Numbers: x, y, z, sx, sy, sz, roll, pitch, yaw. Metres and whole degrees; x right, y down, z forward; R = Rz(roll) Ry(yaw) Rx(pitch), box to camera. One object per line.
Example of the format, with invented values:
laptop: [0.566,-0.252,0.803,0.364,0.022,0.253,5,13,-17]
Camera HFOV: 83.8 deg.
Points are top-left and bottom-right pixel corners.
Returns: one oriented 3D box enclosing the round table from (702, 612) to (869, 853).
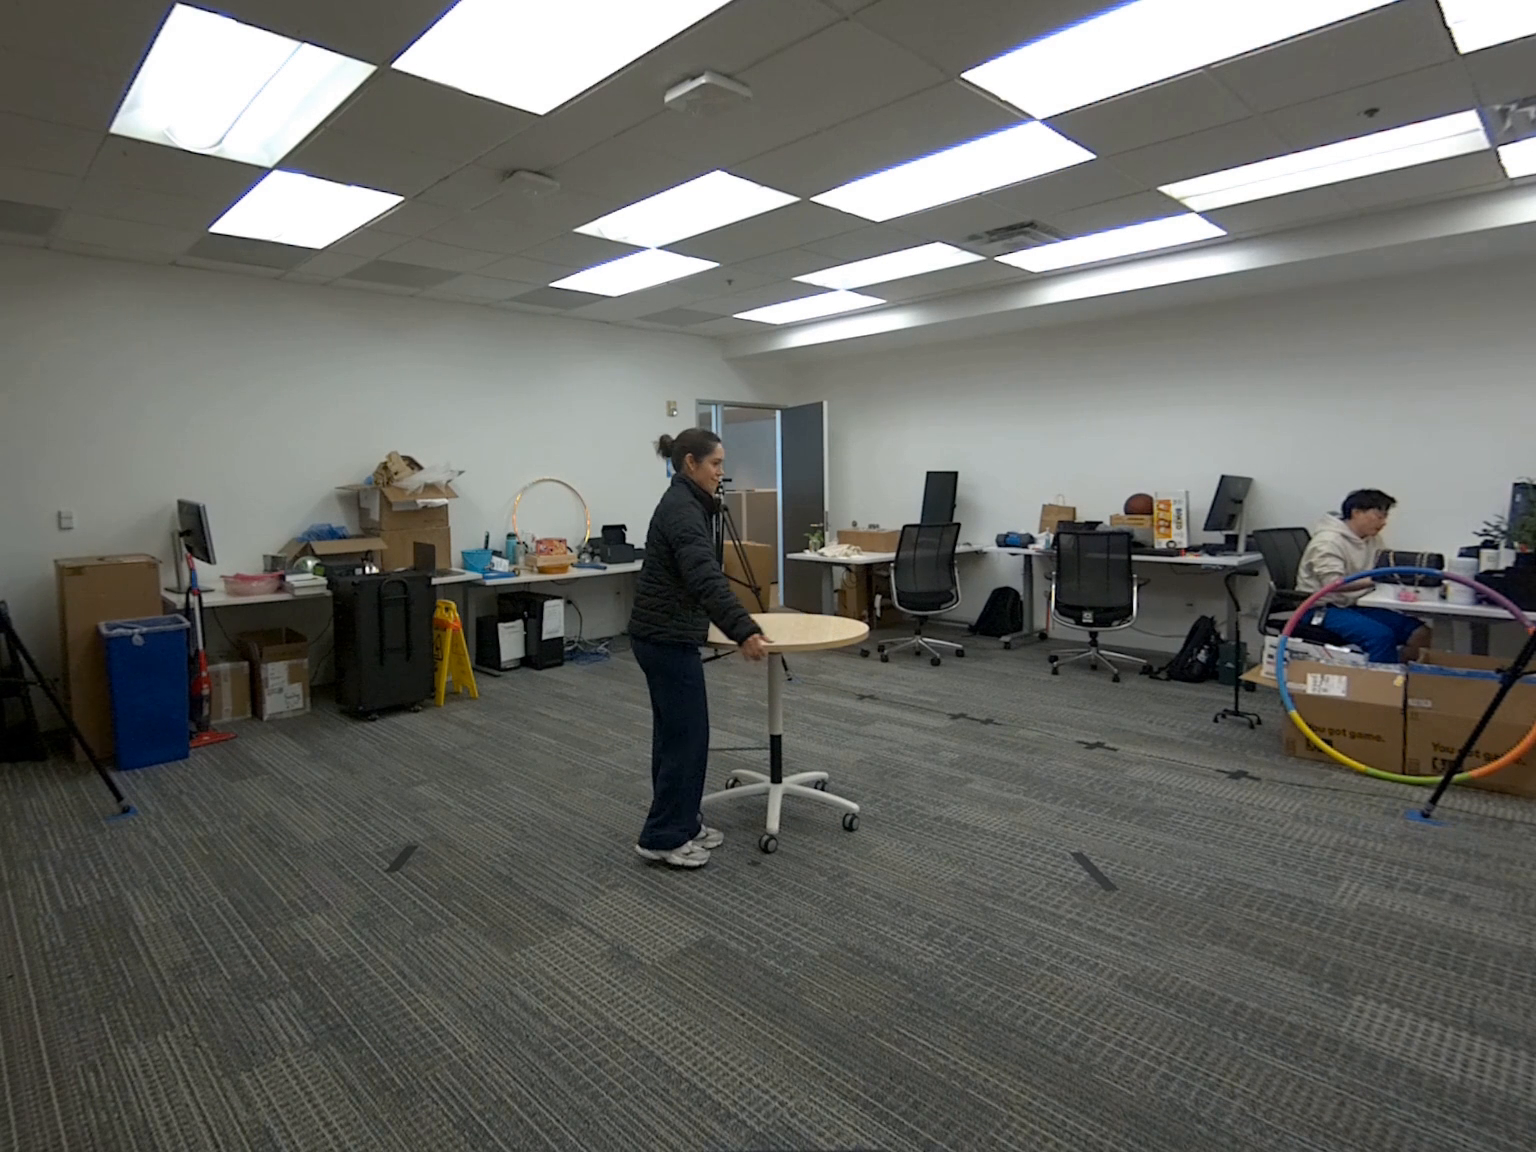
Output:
round table: [0.023,0.602,3.523,0.784,0.784,0.789,-1,4,-2]
